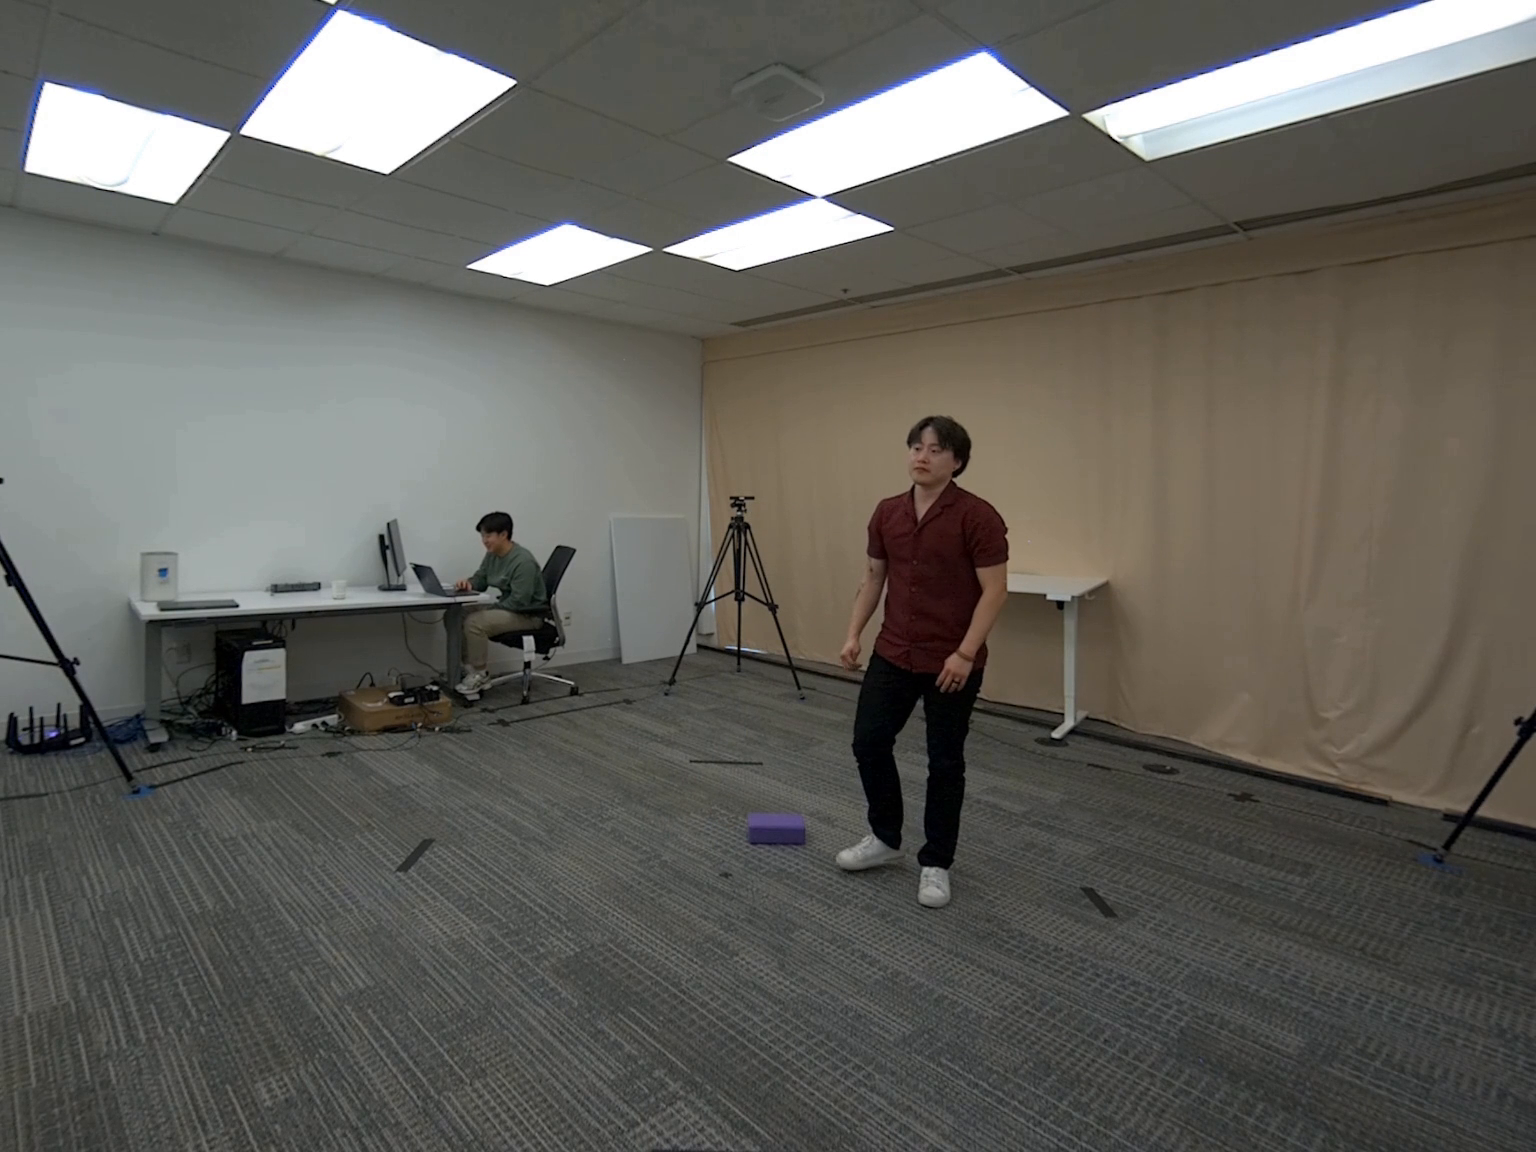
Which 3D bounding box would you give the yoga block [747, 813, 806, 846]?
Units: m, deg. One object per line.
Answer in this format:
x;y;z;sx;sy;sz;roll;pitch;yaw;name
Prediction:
0.026;1.035;3.457;0.229;0.076;0.149;2;6;-1;yoga block
